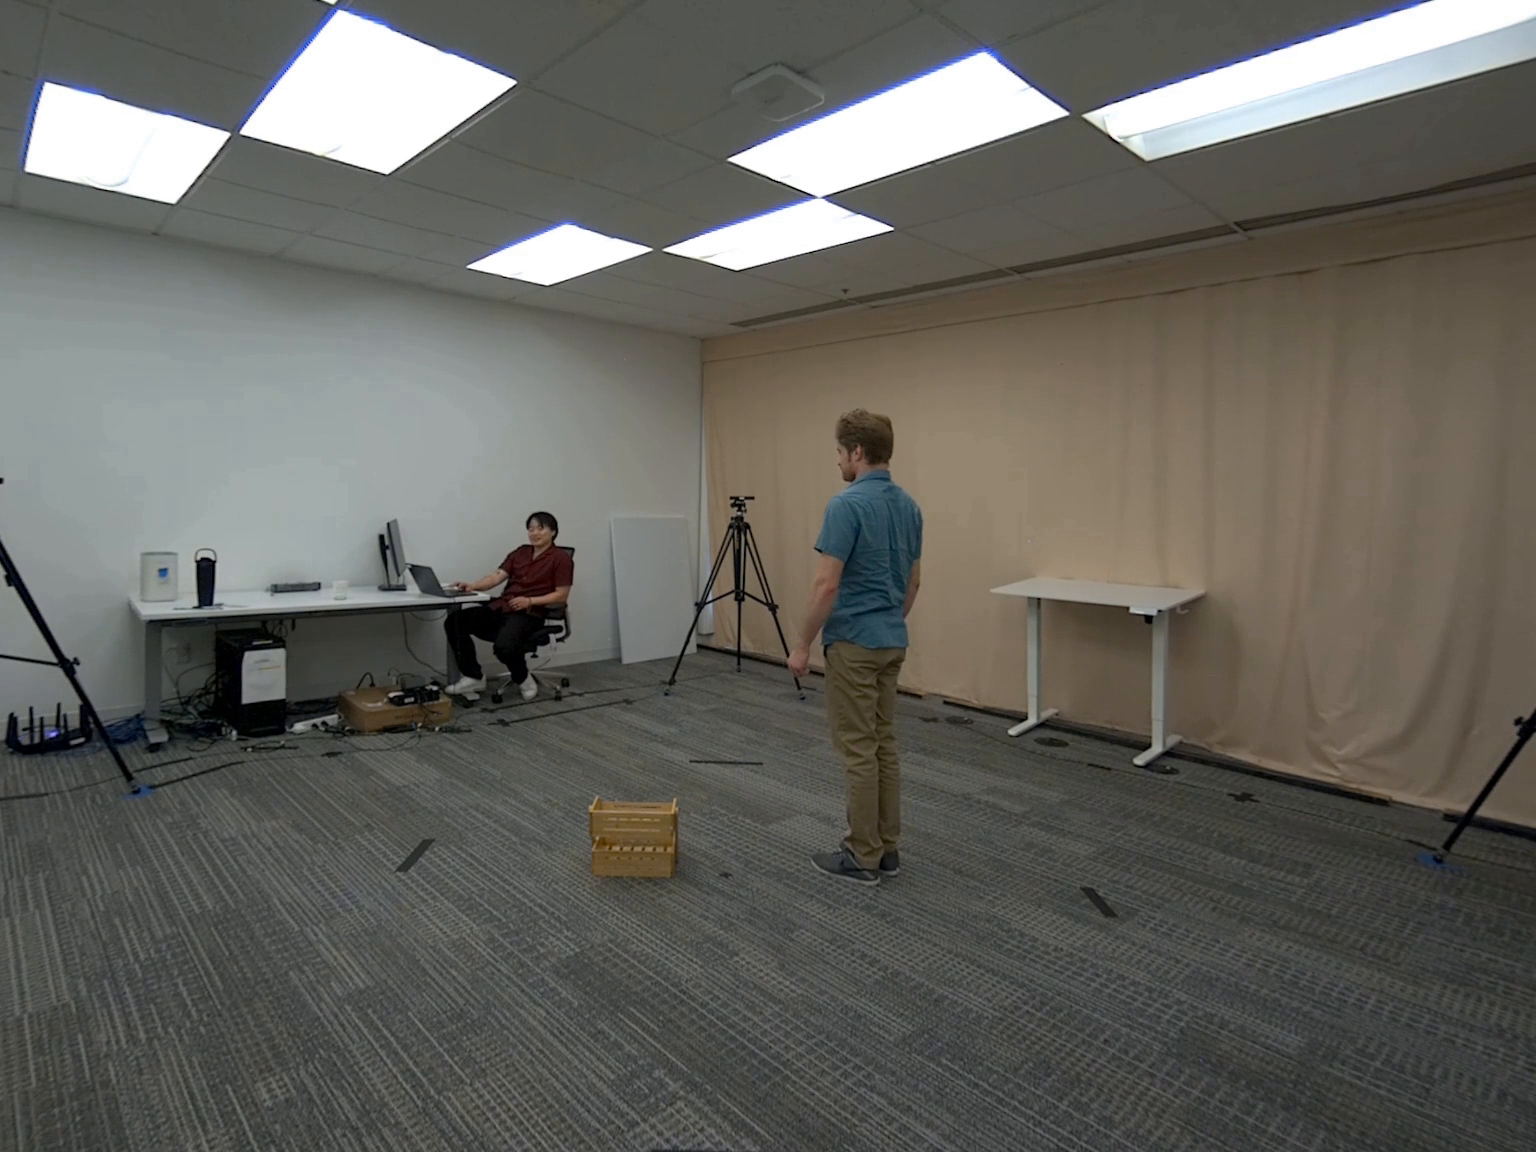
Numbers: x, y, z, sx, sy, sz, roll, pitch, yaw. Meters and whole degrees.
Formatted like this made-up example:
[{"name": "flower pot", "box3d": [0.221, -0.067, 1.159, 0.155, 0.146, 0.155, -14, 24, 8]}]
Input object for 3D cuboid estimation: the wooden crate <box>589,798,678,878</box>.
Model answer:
[{"name": "wooden crate", "box3d": [-0.506, 0.953, 3.168, 0.324, 0.272, 0.303, 2, 5, -2]}]
